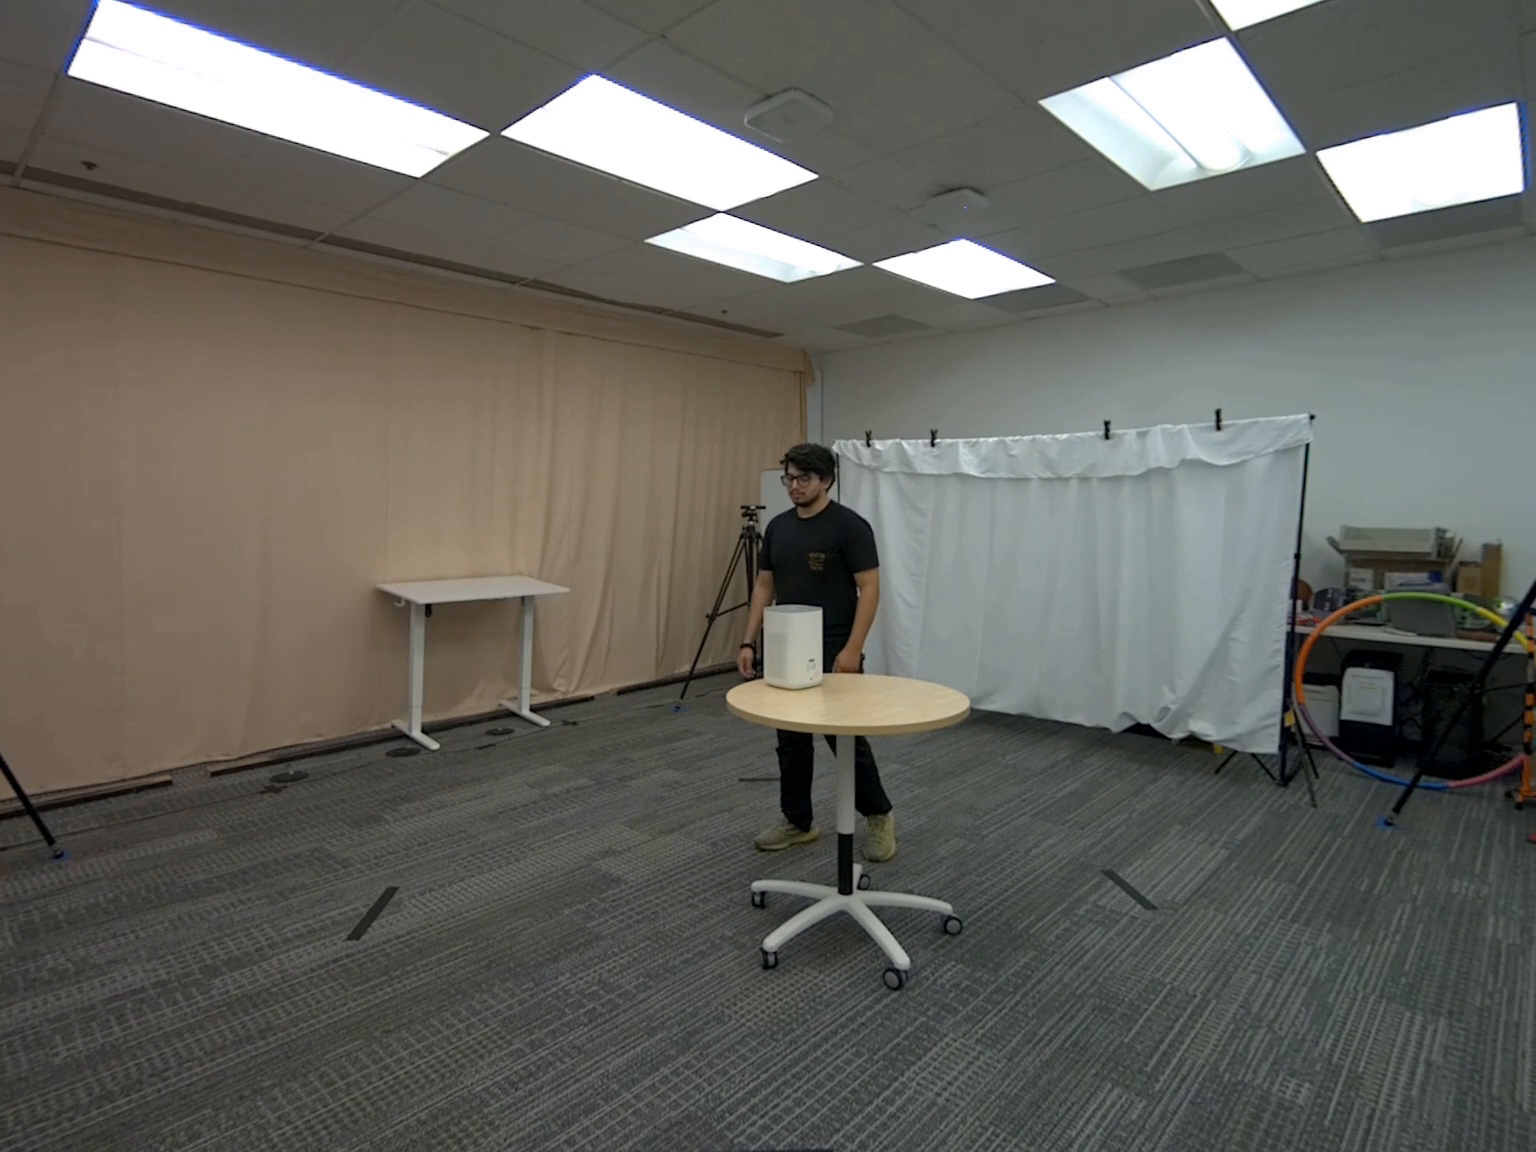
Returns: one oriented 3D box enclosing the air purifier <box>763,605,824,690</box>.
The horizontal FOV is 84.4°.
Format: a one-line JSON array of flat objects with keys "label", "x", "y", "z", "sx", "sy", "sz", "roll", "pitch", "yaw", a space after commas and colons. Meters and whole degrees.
[{"label": "air purifier", "x": 0.084, "y": 0.238, "z": 2.869, "sx": 0.166, "sy": 0.265, "sz": 0.177, "roll": -4, "pitch": 4, "yaw": -45}]
